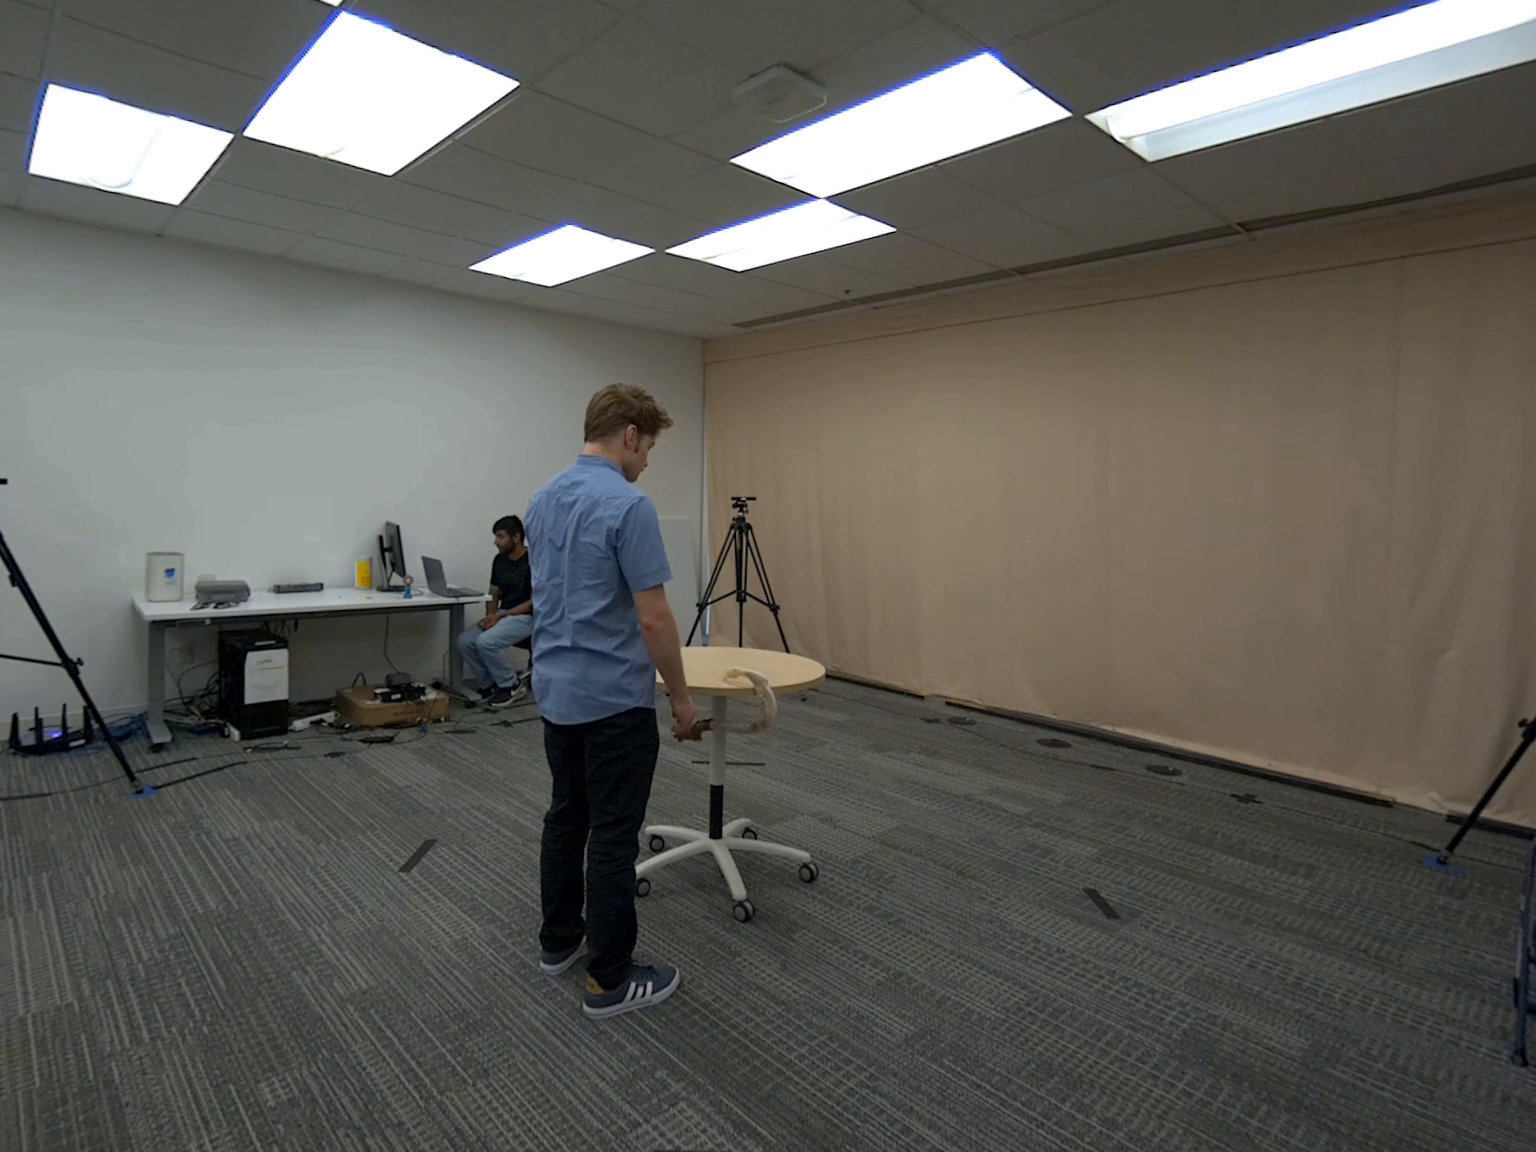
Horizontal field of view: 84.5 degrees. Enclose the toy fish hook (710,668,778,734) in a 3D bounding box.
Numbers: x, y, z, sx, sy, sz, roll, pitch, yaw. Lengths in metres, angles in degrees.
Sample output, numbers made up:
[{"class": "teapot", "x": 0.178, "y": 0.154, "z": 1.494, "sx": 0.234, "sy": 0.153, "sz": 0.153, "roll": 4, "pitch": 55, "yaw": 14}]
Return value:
[{"class": "toy fish hook", "x": -0.169, "y": 0.448, "z": 2.825, "sx": 0.513, "sy": 0.227, "sz": 0.047, "roll": -23, "pitch": -17, "yaw": 41}]
